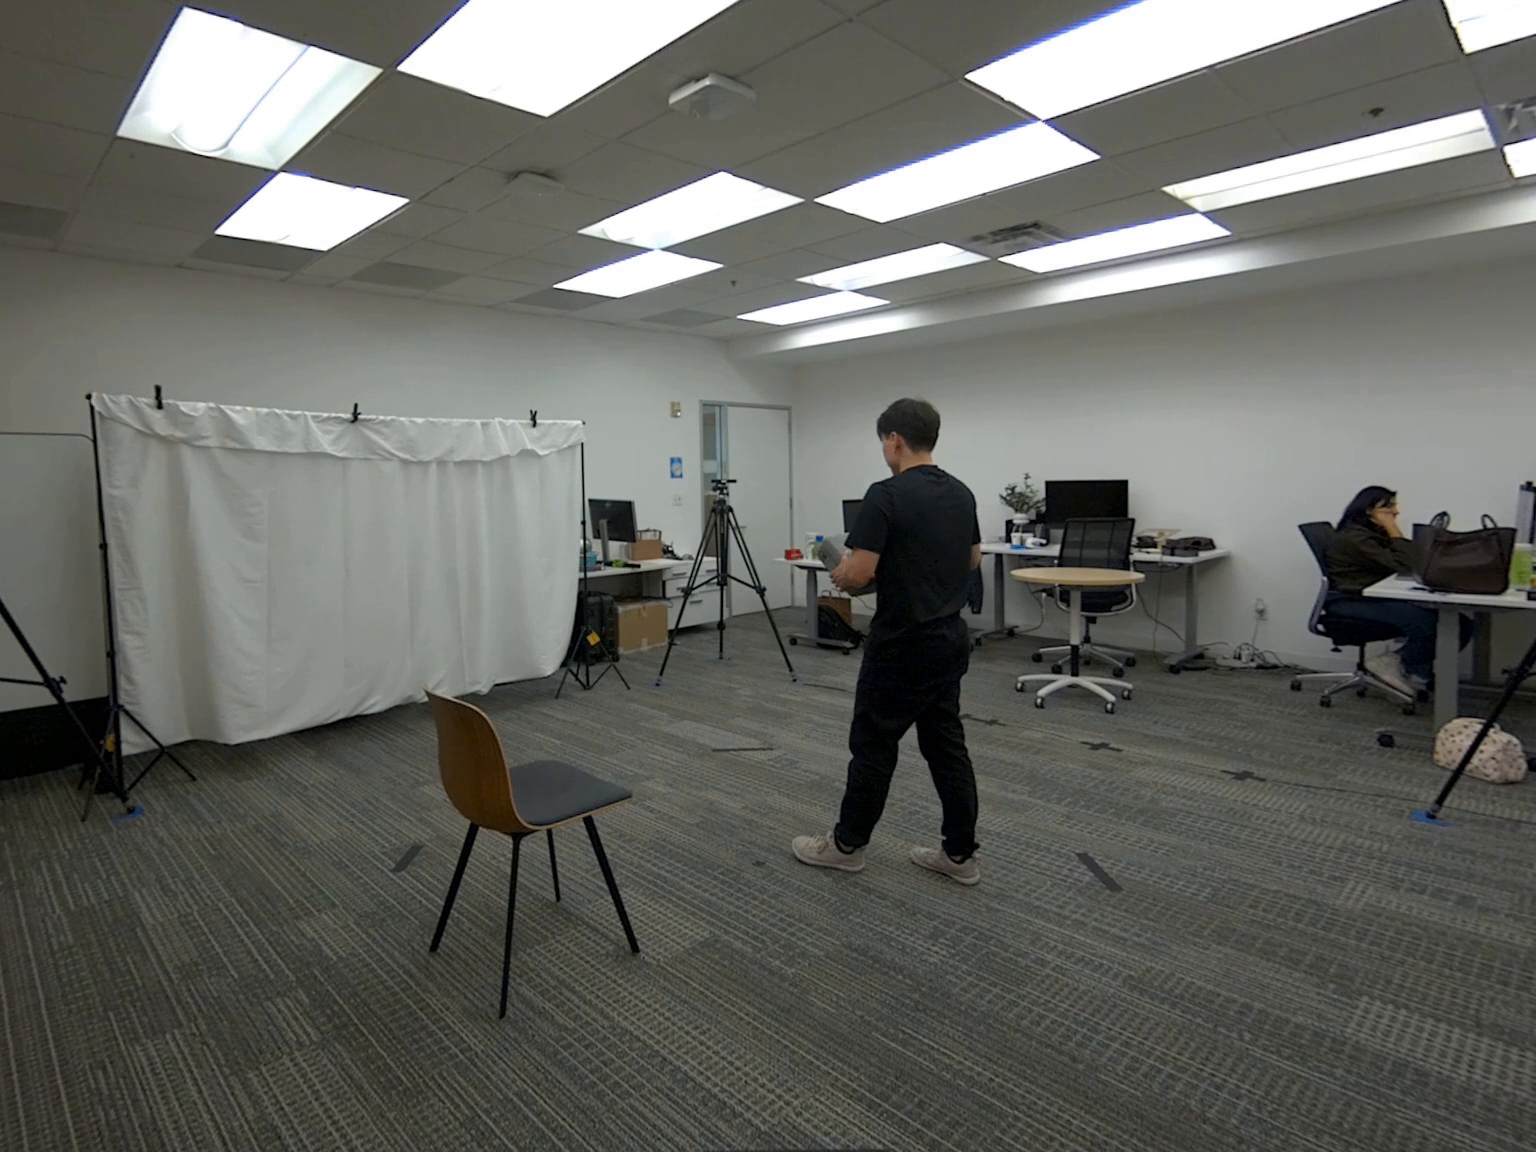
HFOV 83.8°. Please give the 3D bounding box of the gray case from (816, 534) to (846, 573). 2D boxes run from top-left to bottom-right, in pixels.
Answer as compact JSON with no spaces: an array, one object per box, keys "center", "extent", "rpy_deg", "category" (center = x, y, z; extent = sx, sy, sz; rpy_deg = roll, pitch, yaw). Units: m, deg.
[{"center":[0.356,-0.064,3.233],"extent":[0.250,0.103,0.270],"rpy_deg":[-8,43,-38],"category":"gray case"}]
